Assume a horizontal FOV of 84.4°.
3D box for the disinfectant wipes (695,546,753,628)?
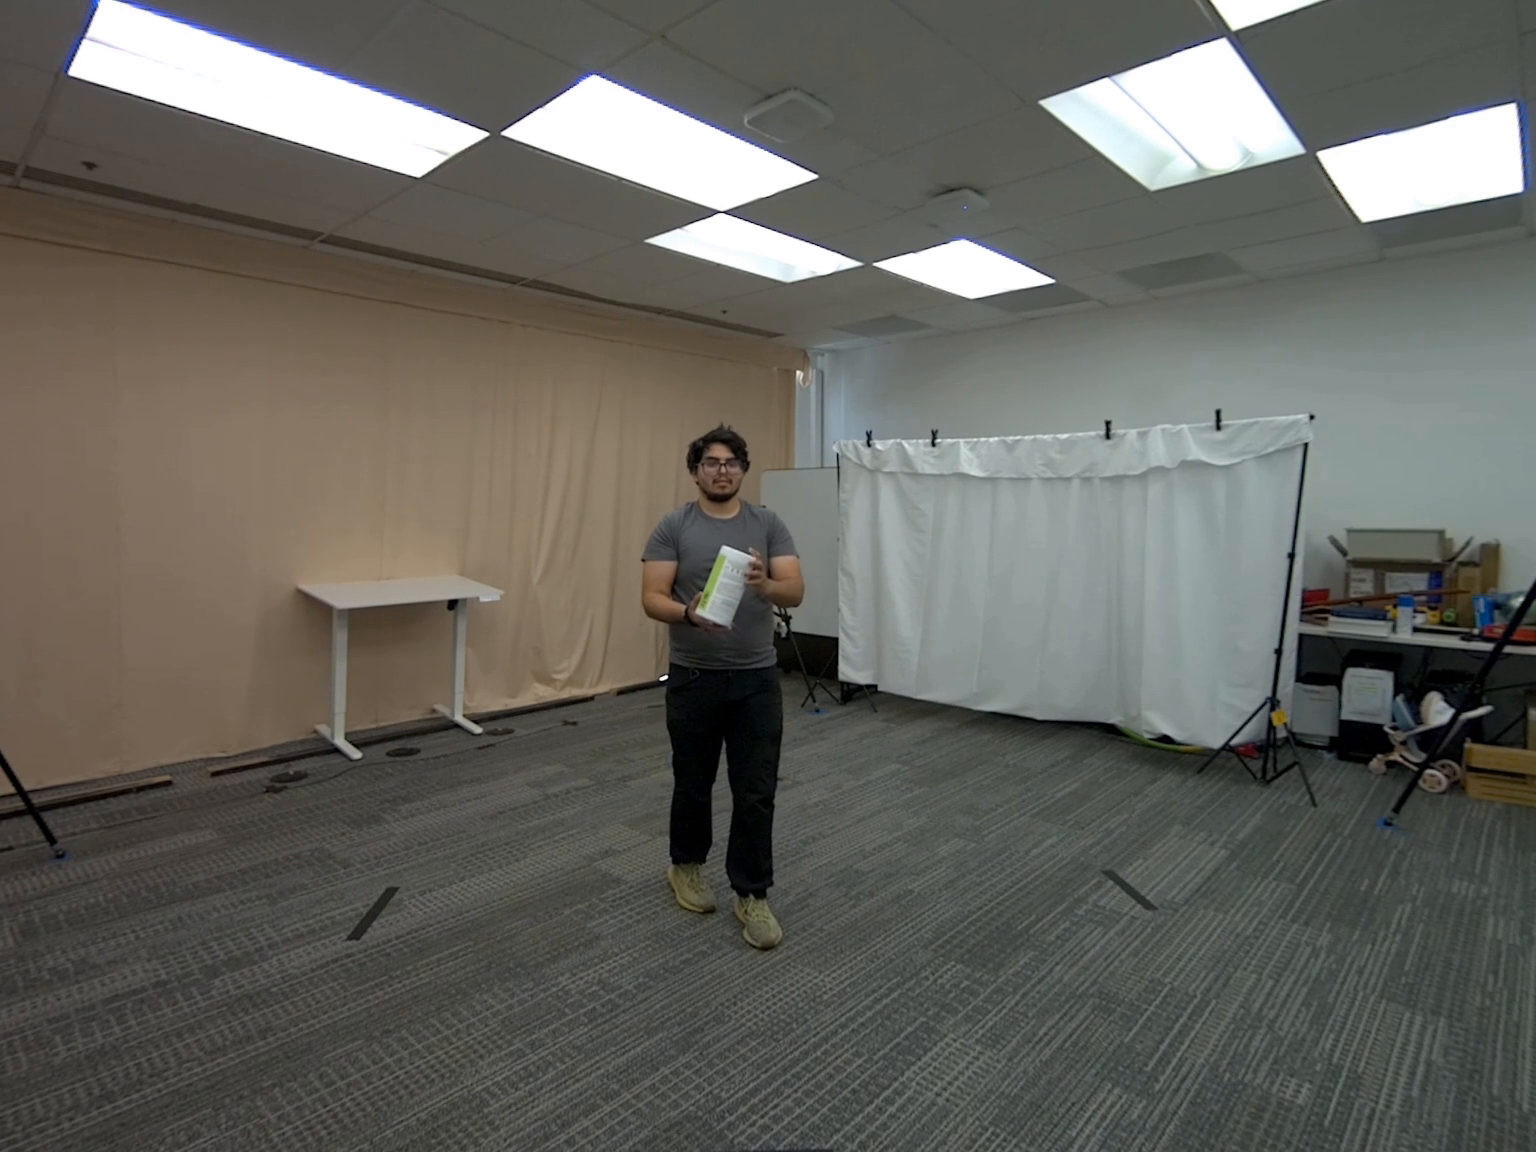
[{"bbox_3d":[-0.124,0.031,2.430,0.117,0.217,0.118,22,2,-3],"label":"disinfectant wipes"}]
